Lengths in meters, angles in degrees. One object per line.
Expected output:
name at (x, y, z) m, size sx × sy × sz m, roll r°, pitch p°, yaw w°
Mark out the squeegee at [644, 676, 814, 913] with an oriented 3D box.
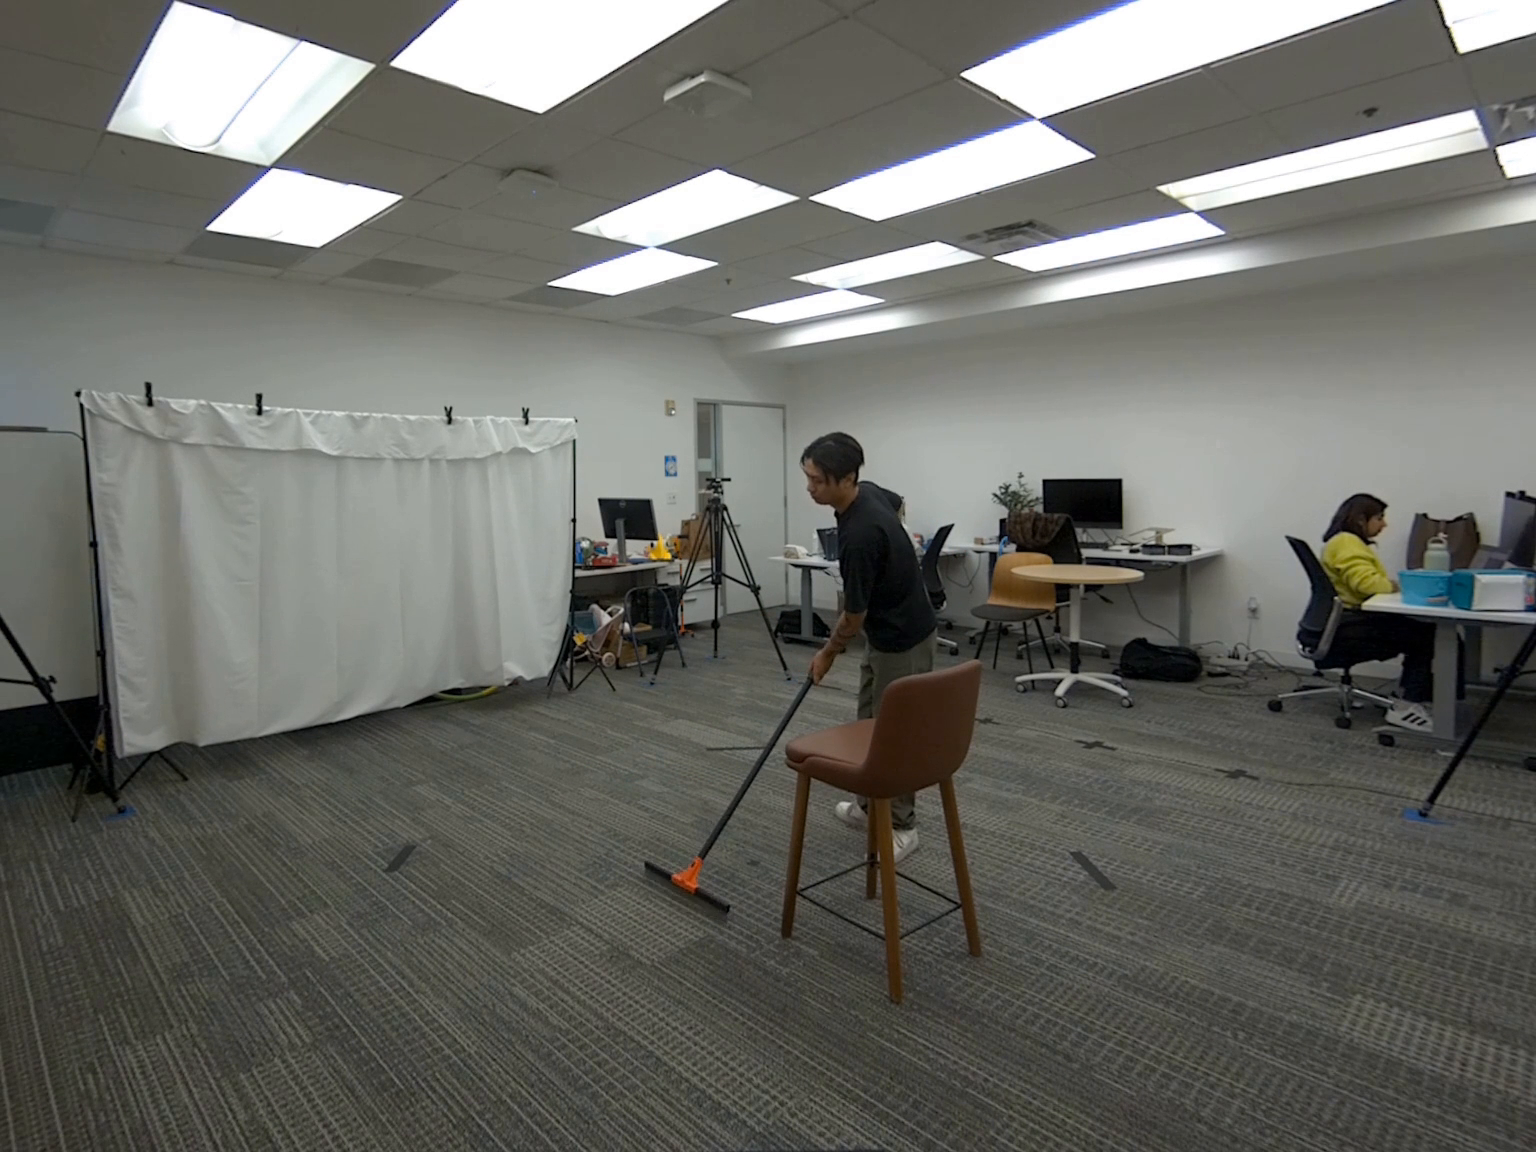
squeegee at (0.099, 0.474, 3.192) m, size 0.451 × 0.051 × 1.544 m, roll 4°, pitch 51°, yaw 44°
